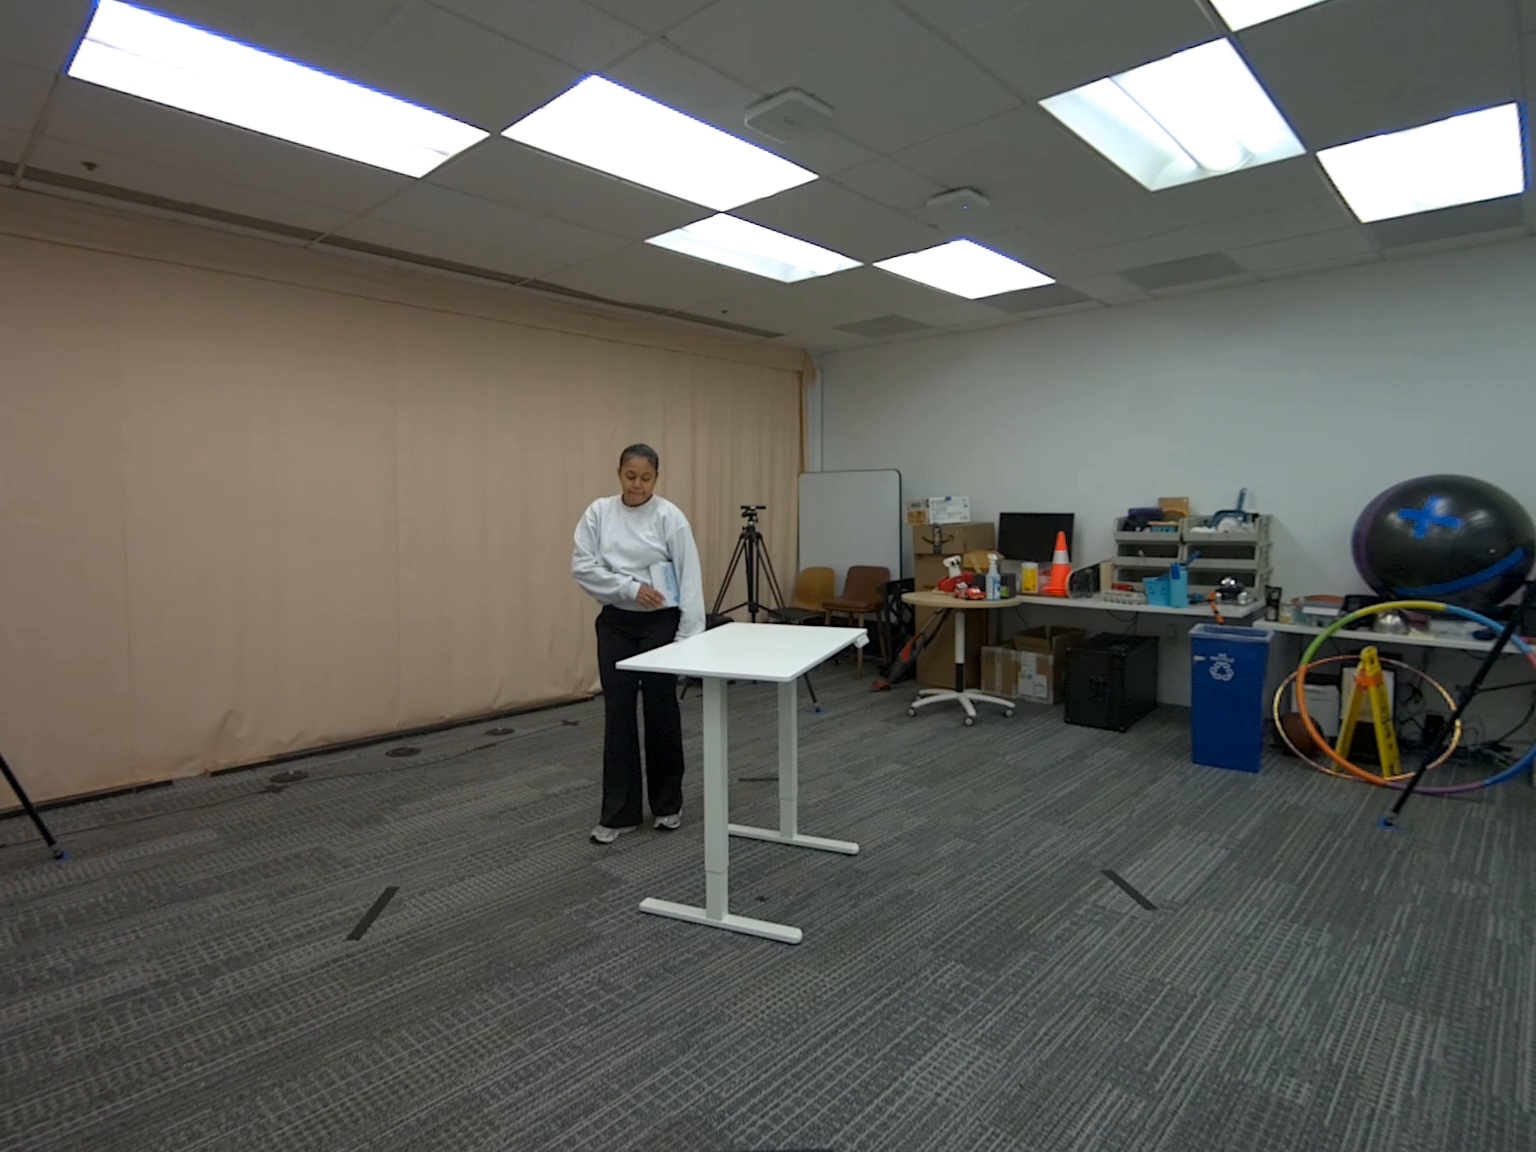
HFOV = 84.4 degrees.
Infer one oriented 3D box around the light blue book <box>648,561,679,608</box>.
[{"bbox_3d":[-0.402,0.035,3.584,0.060,0.192,0.255,-14,-3,21],"label":"light blue book"}]
